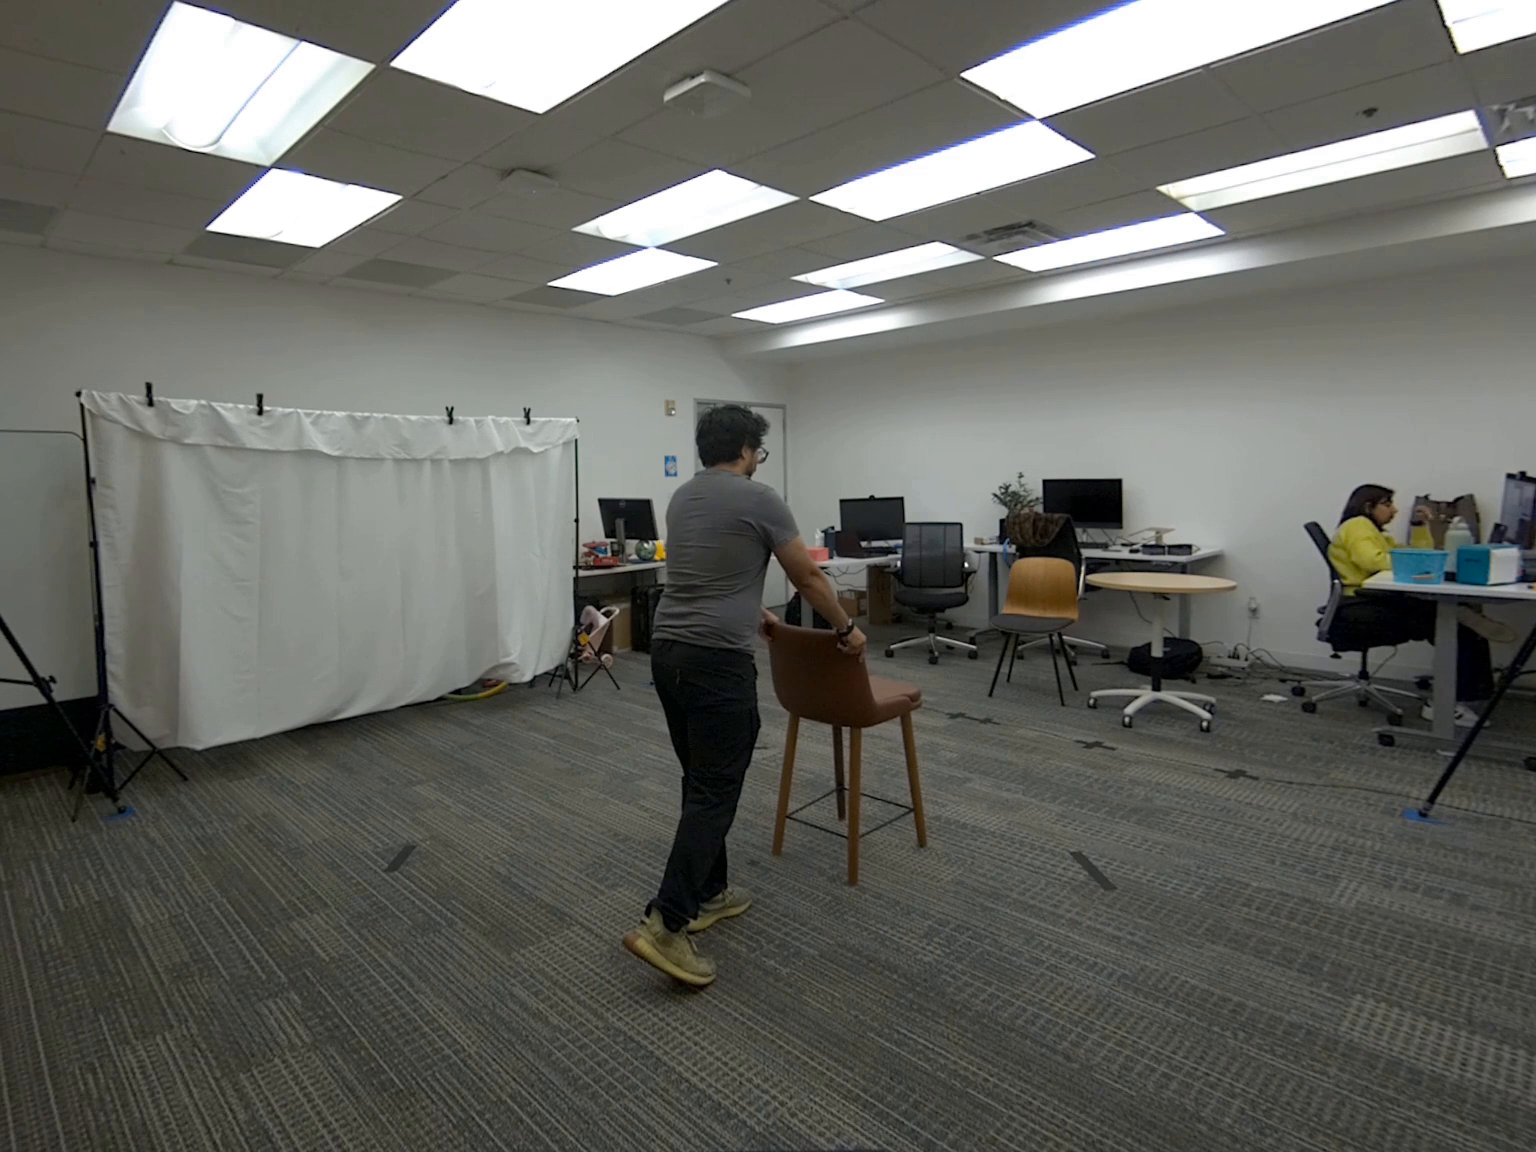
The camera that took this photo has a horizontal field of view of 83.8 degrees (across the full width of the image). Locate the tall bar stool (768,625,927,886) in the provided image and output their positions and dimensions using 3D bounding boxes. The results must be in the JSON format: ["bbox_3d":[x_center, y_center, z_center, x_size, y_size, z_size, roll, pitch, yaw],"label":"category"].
[{"bbox_3d":[0.288,0.591,3.170,0.470,0.885,0.456,4,9,44],"label":"tall bar stool"}]
